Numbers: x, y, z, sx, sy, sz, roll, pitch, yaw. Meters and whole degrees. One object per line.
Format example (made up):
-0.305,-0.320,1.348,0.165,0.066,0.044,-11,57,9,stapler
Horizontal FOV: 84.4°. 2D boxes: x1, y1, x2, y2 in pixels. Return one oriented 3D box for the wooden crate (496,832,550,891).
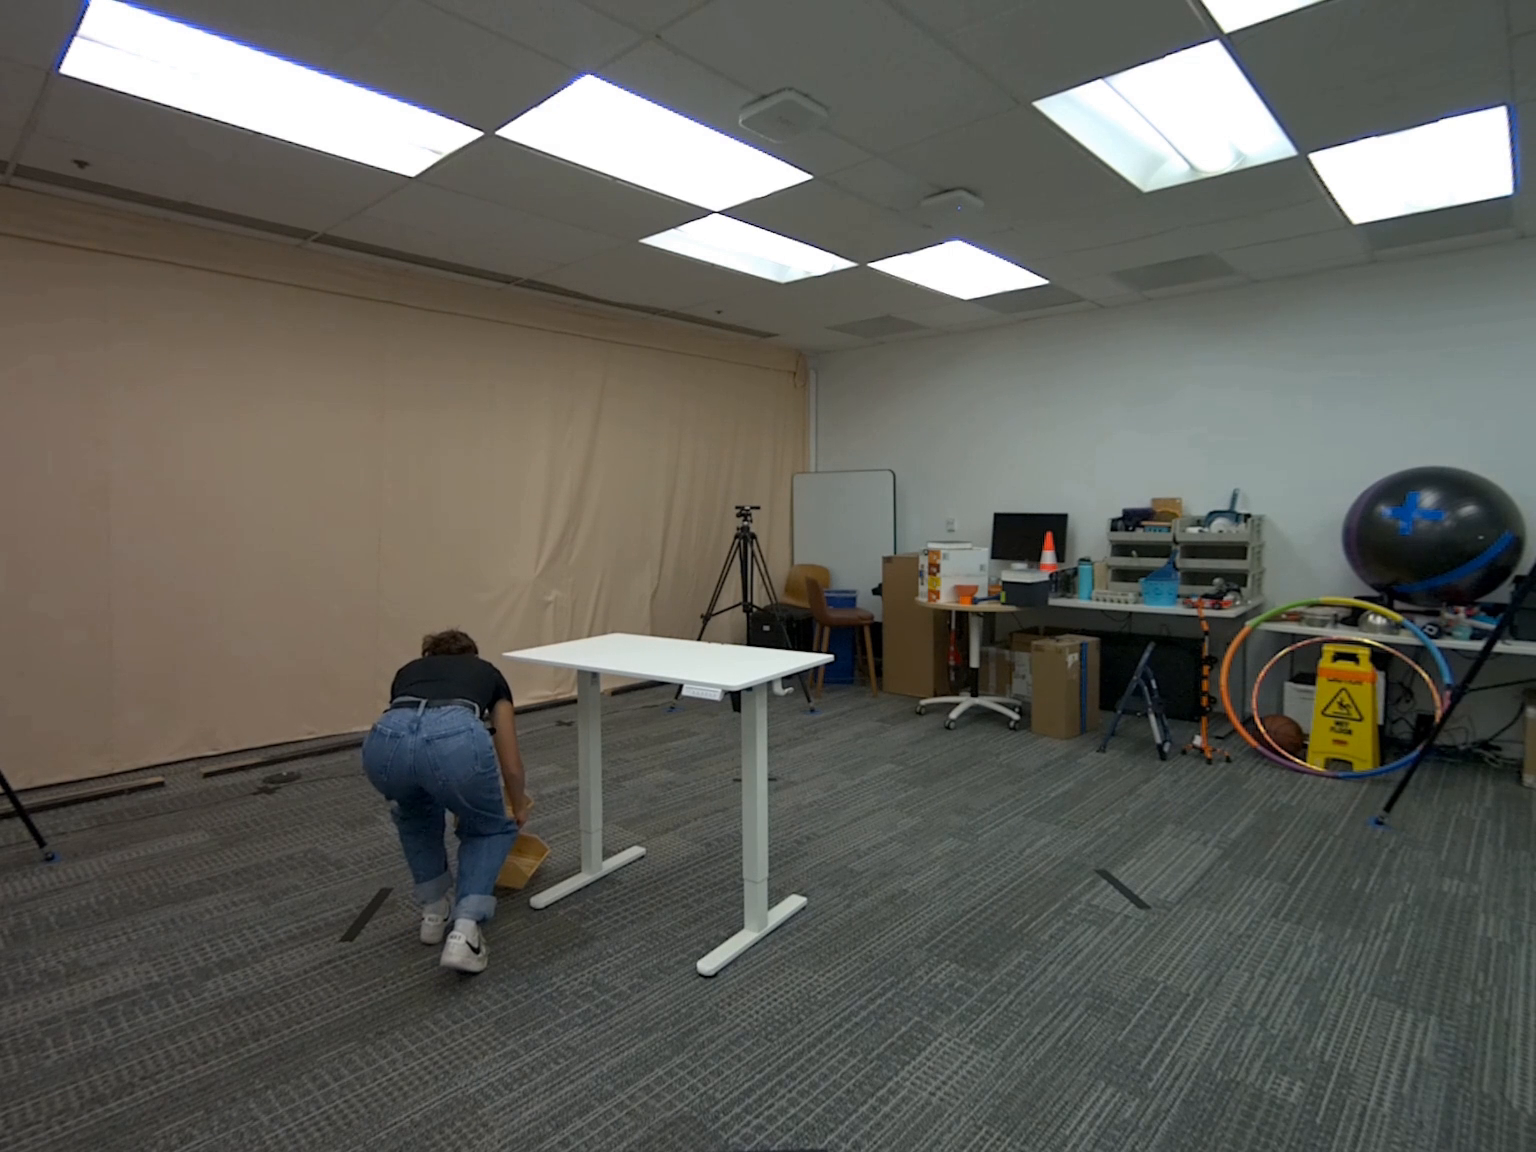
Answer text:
-0.954,0.948,3.120,0.303,0.273,0.323,6,-1,1,wooden crate
